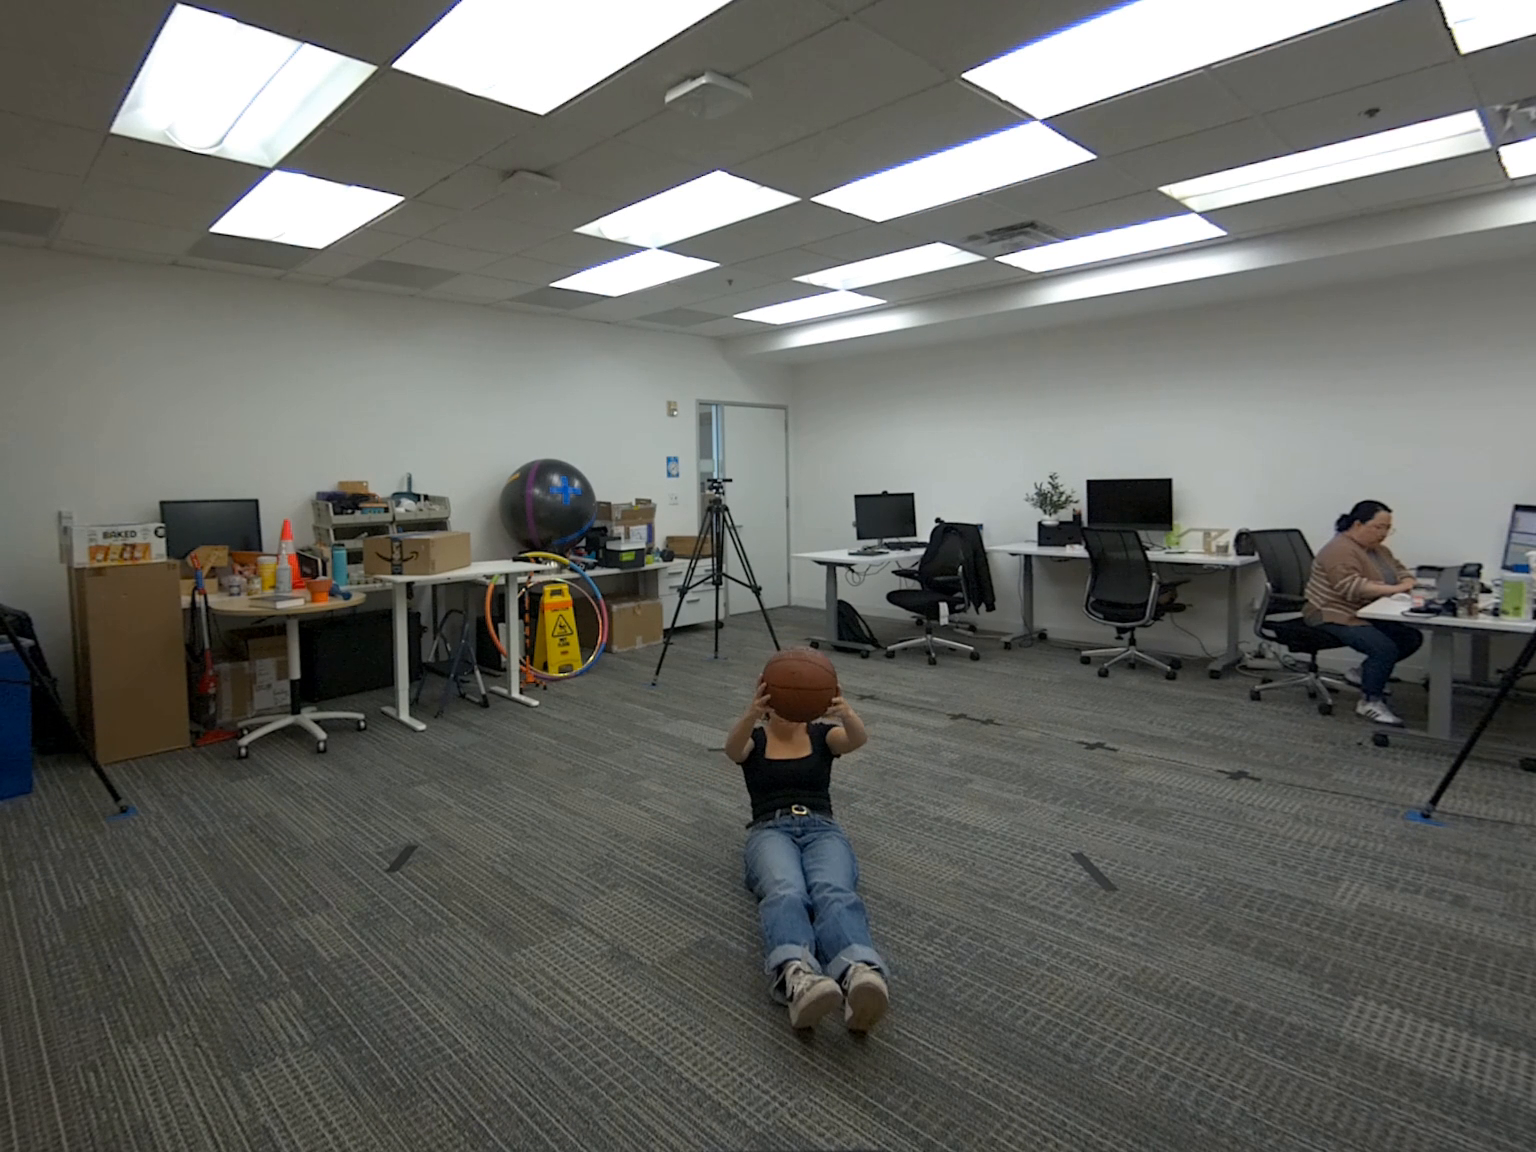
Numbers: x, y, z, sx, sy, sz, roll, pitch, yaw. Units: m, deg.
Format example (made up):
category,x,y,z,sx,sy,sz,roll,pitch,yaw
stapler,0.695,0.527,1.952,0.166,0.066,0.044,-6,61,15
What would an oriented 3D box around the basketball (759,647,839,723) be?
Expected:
category,x,y,z,sx,sy,sz,roll,pitch,yaw
basketball,0.098,0.339,2.684,0.236,0.235,0.237,-1,5,-2
